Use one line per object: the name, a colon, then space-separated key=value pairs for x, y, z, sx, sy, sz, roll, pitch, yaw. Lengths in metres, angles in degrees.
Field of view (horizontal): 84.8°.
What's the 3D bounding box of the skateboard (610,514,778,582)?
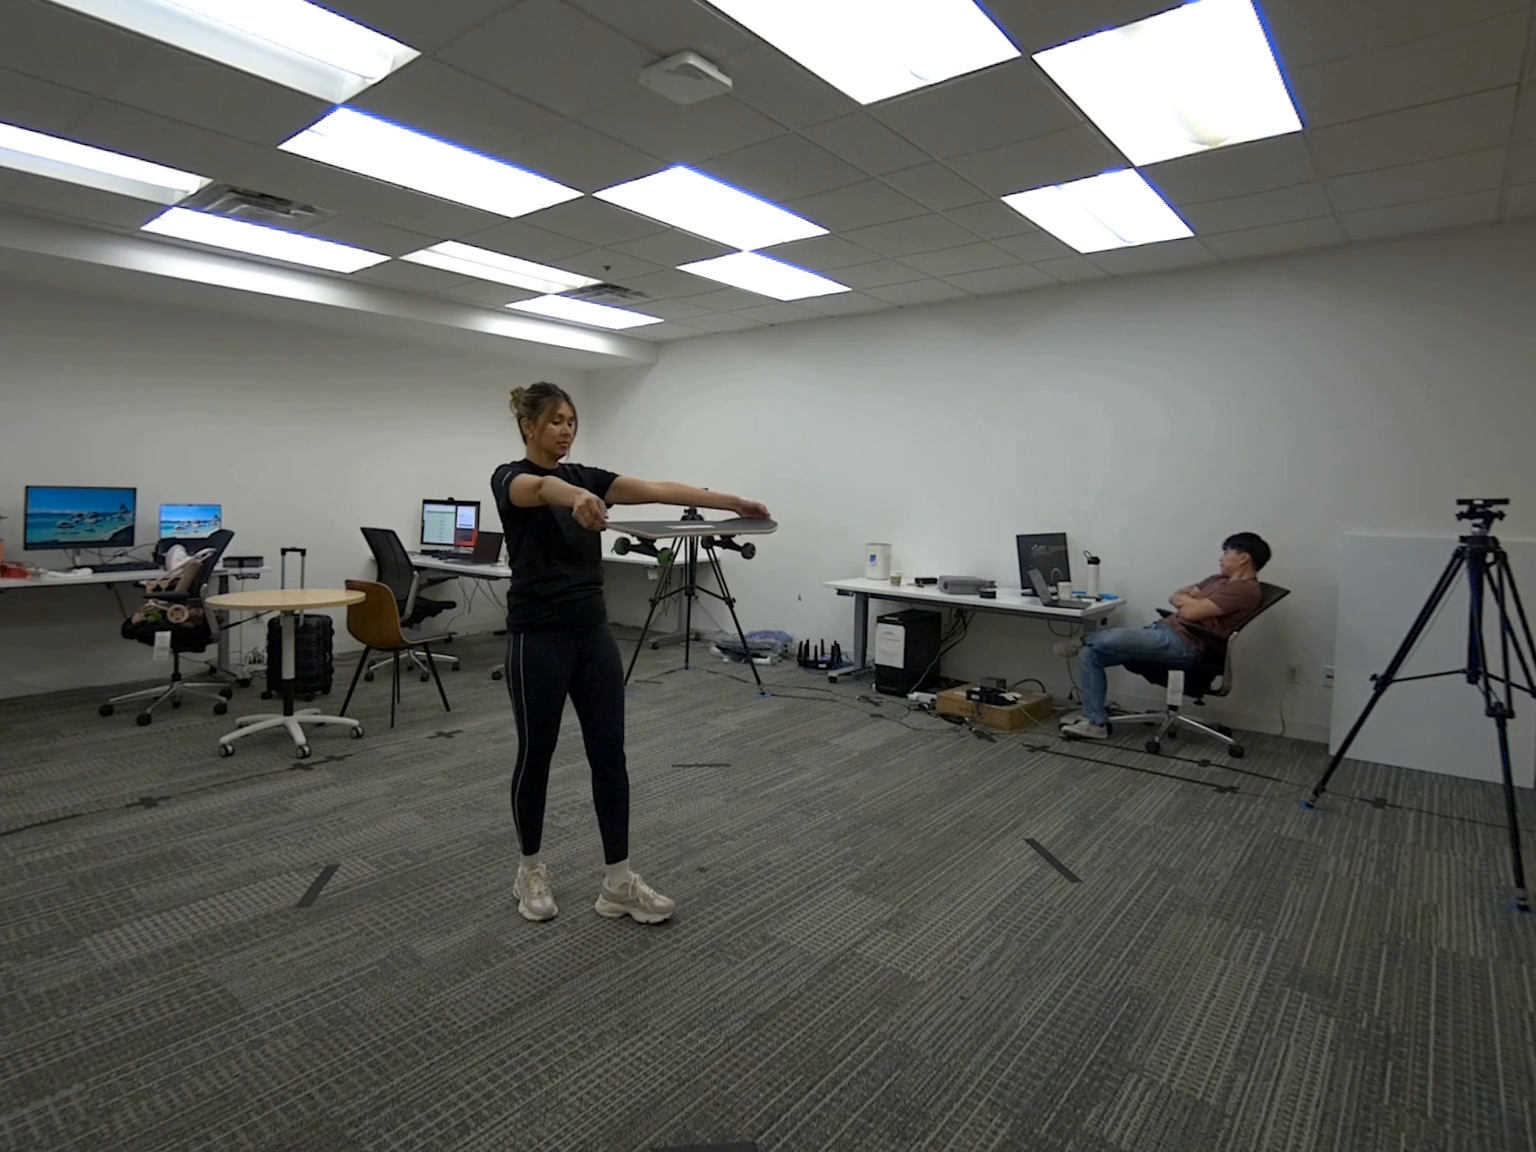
skateboard: x=-0.231 y=-0.110 z=2.429 sx=0.200 sy=0.109 sz=0.764 roll=17 pitch=13 yaw=30
